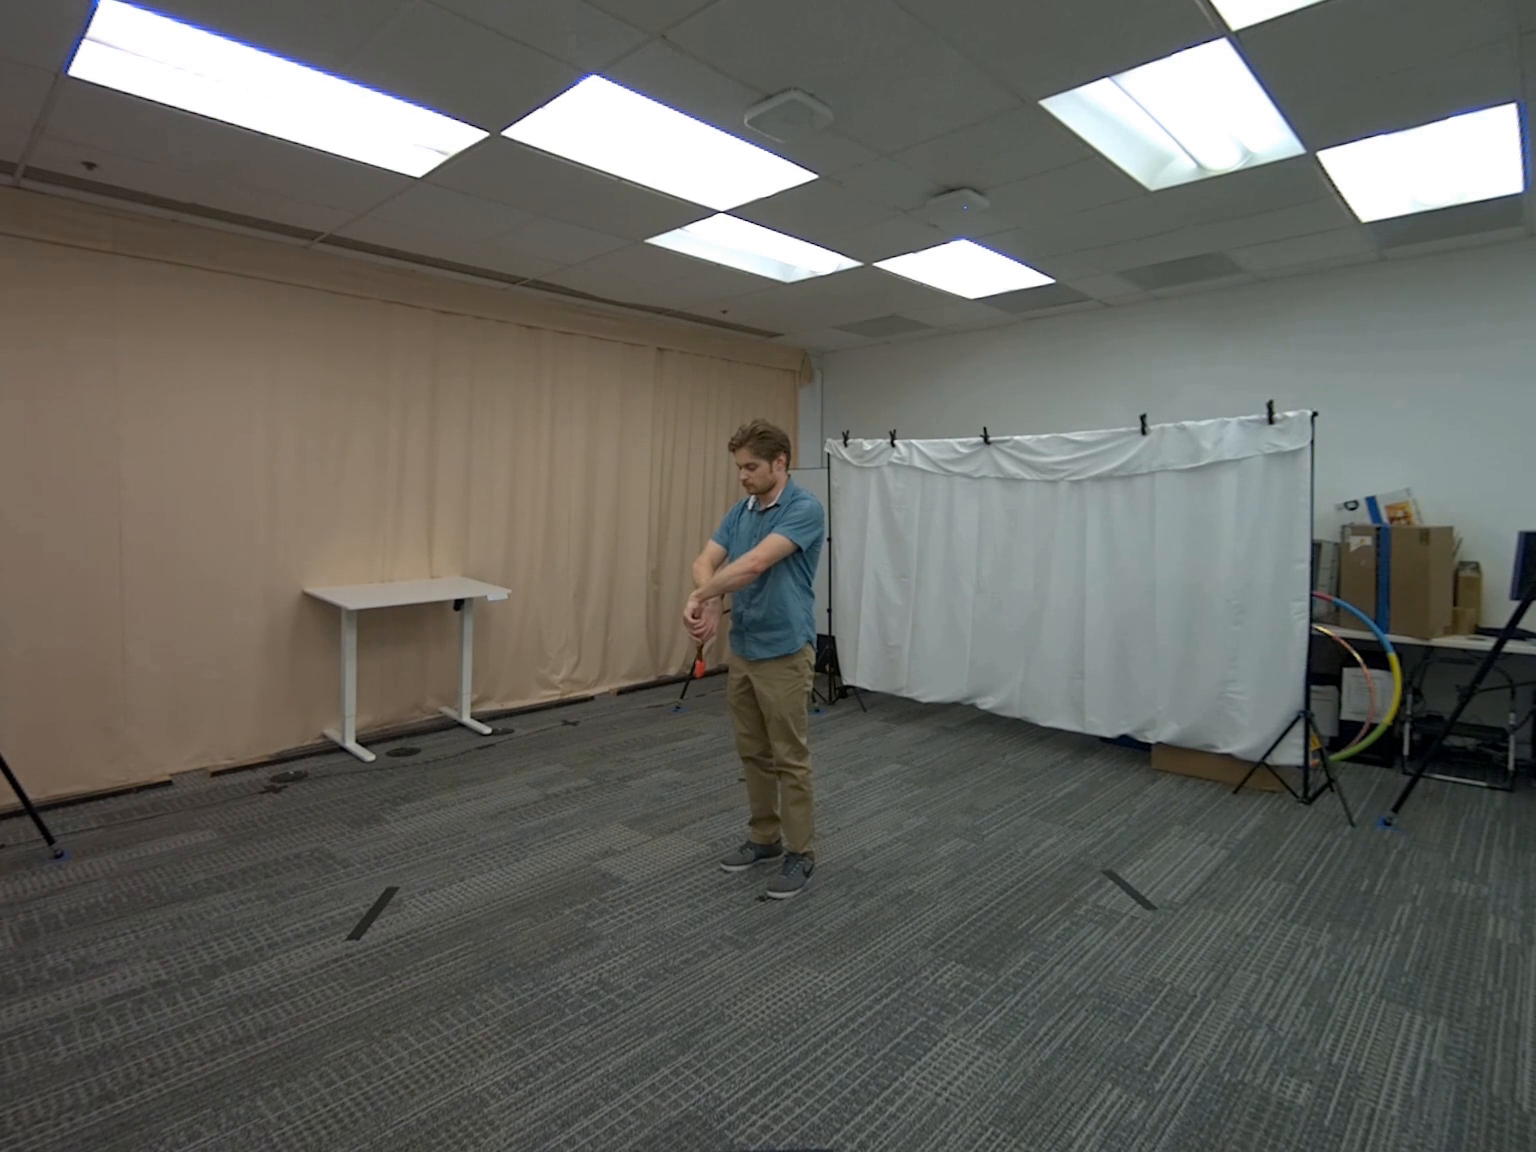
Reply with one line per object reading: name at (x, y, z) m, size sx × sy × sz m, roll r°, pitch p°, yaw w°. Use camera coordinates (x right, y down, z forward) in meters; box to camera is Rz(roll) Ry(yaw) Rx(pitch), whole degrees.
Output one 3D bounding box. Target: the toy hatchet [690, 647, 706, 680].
toy hatchet at (-0.181, 0.299, 2.969) m, size 0.276 × 0.029 × 0.130 m, roll -22°, pitch 14°, yaw 36°
